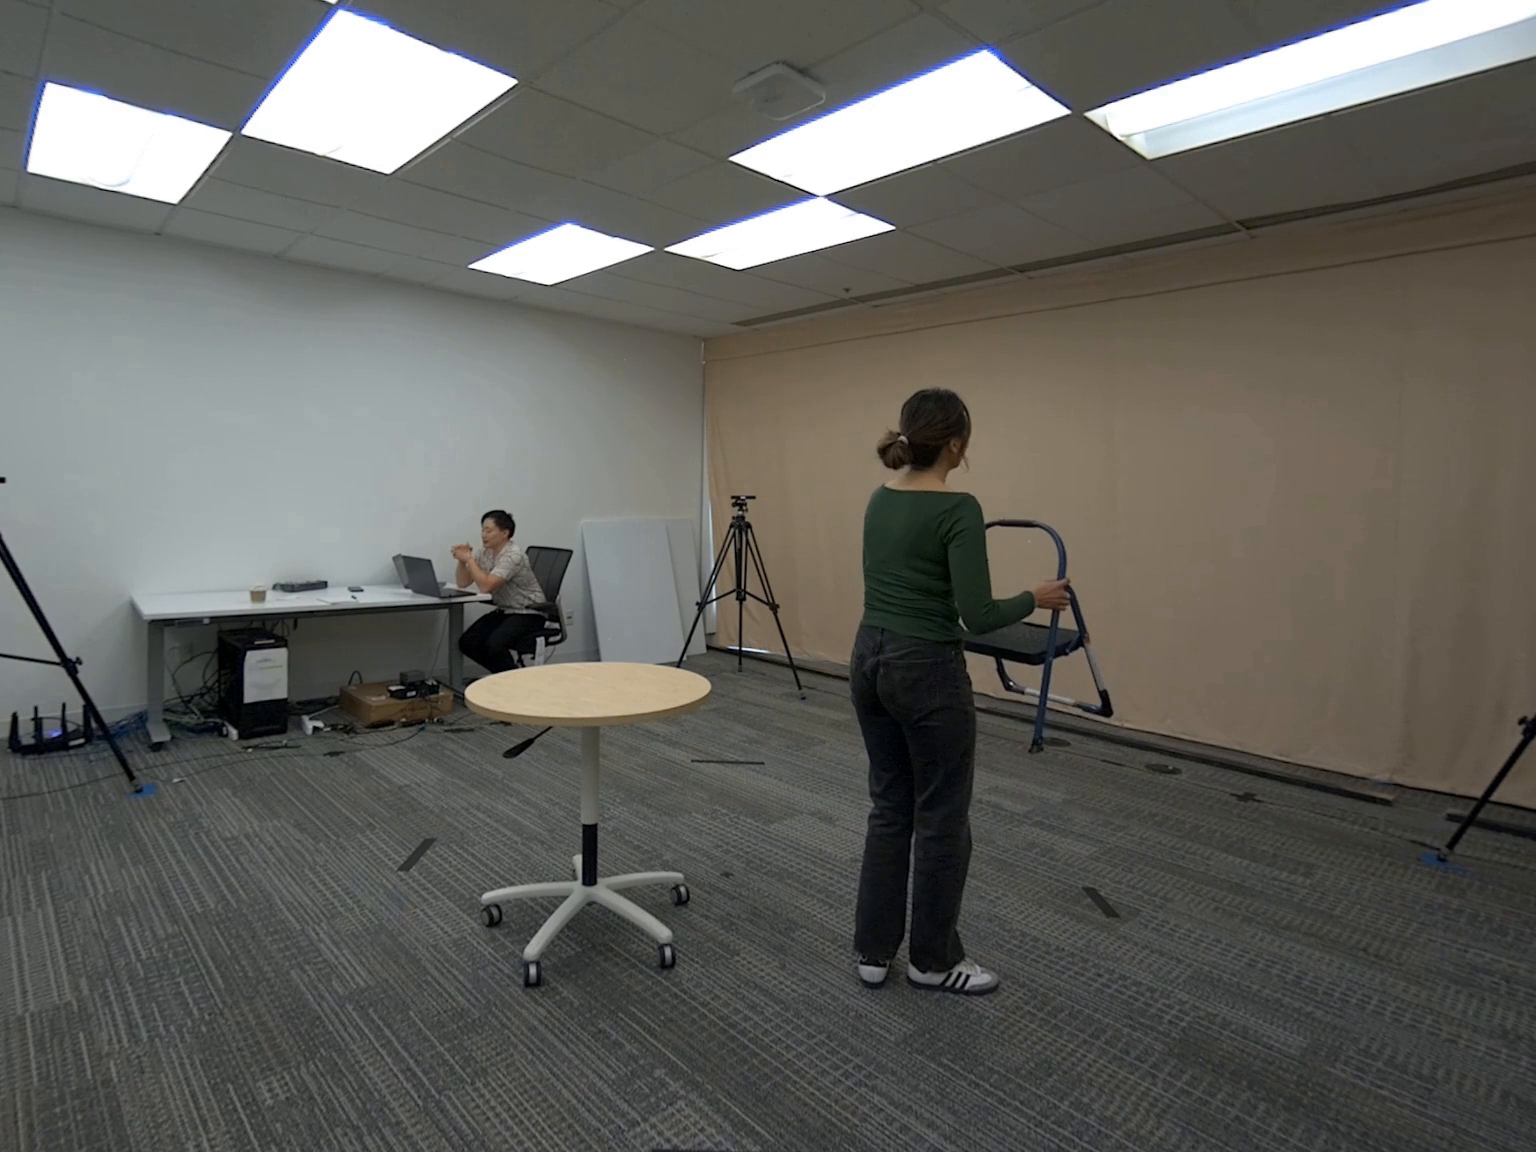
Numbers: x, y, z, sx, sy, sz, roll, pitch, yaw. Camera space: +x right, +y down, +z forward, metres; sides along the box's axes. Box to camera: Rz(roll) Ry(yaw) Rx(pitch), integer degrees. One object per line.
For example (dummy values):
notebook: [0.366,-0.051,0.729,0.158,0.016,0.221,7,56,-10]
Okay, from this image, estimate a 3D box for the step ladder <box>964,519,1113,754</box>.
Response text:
step ladder: [0.724,0.146,2.550,0.344,0.602,0.440,-13,10,-29]
